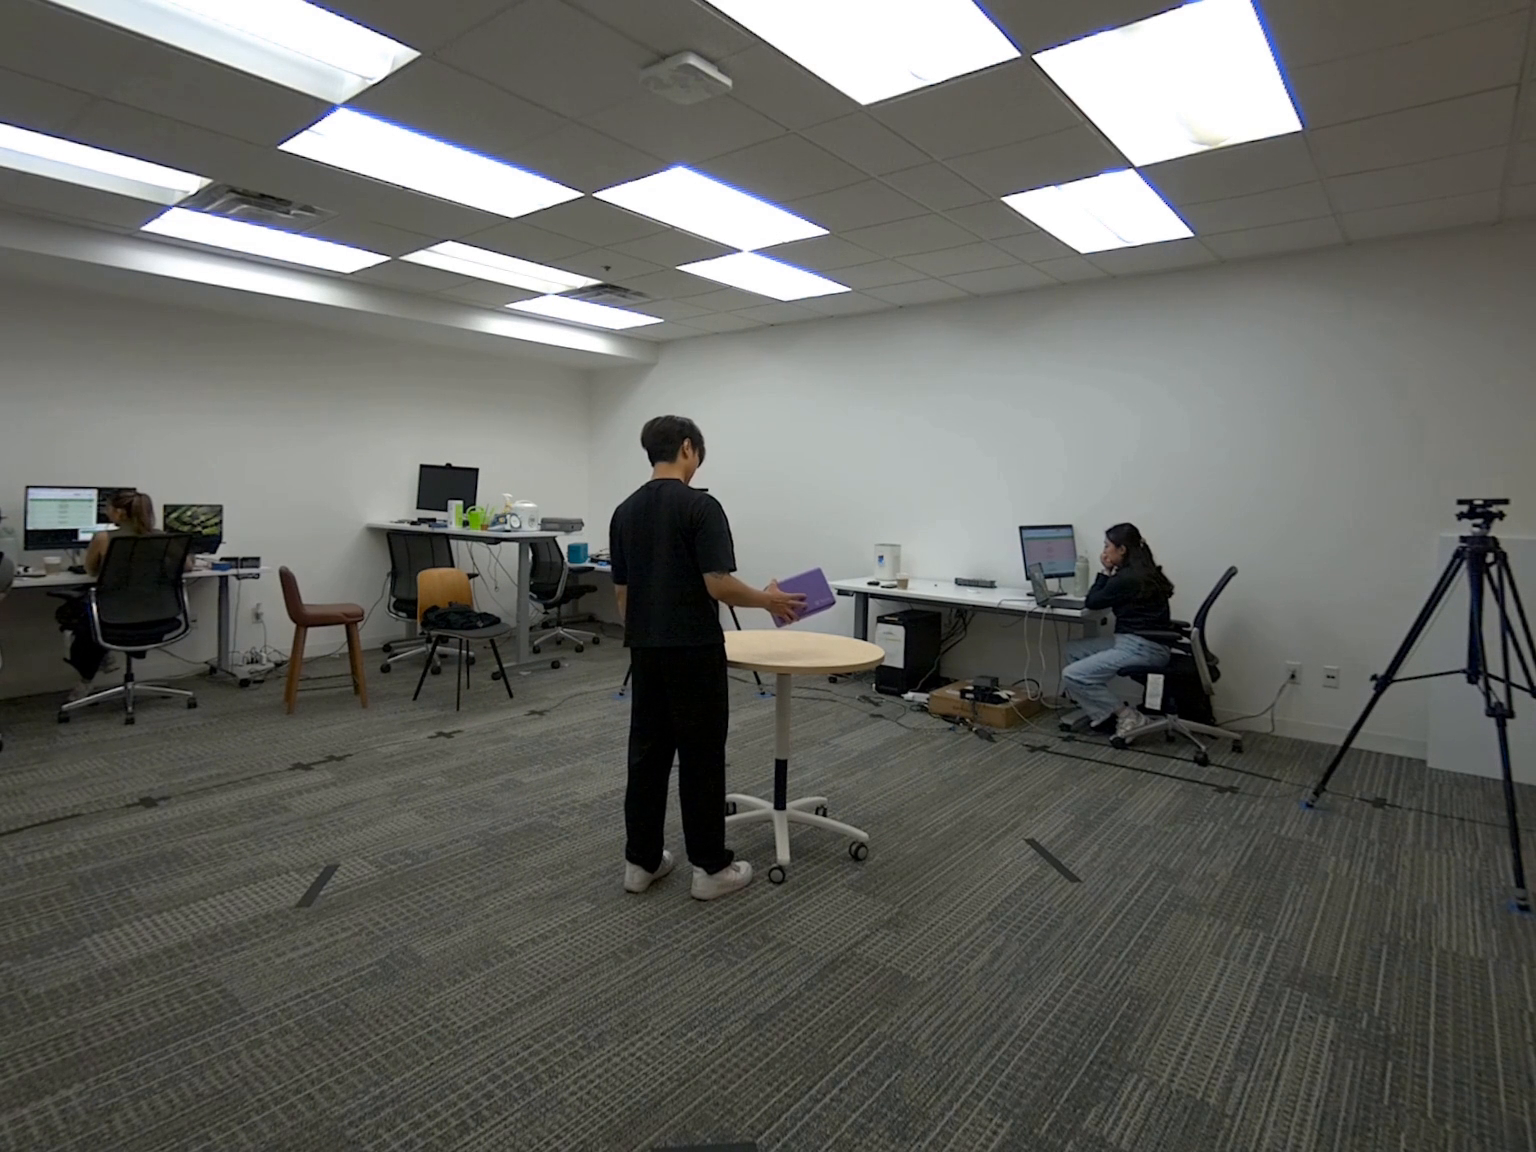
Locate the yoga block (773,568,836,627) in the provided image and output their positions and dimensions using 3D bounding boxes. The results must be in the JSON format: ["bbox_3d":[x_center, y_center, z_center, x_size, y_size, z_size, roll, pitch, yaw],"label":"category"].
[{"bbox_3d":[0.105,0.077,3.070,0.227,0.151,0.076,-20,-13,-11],"label":"yoga block"}]
